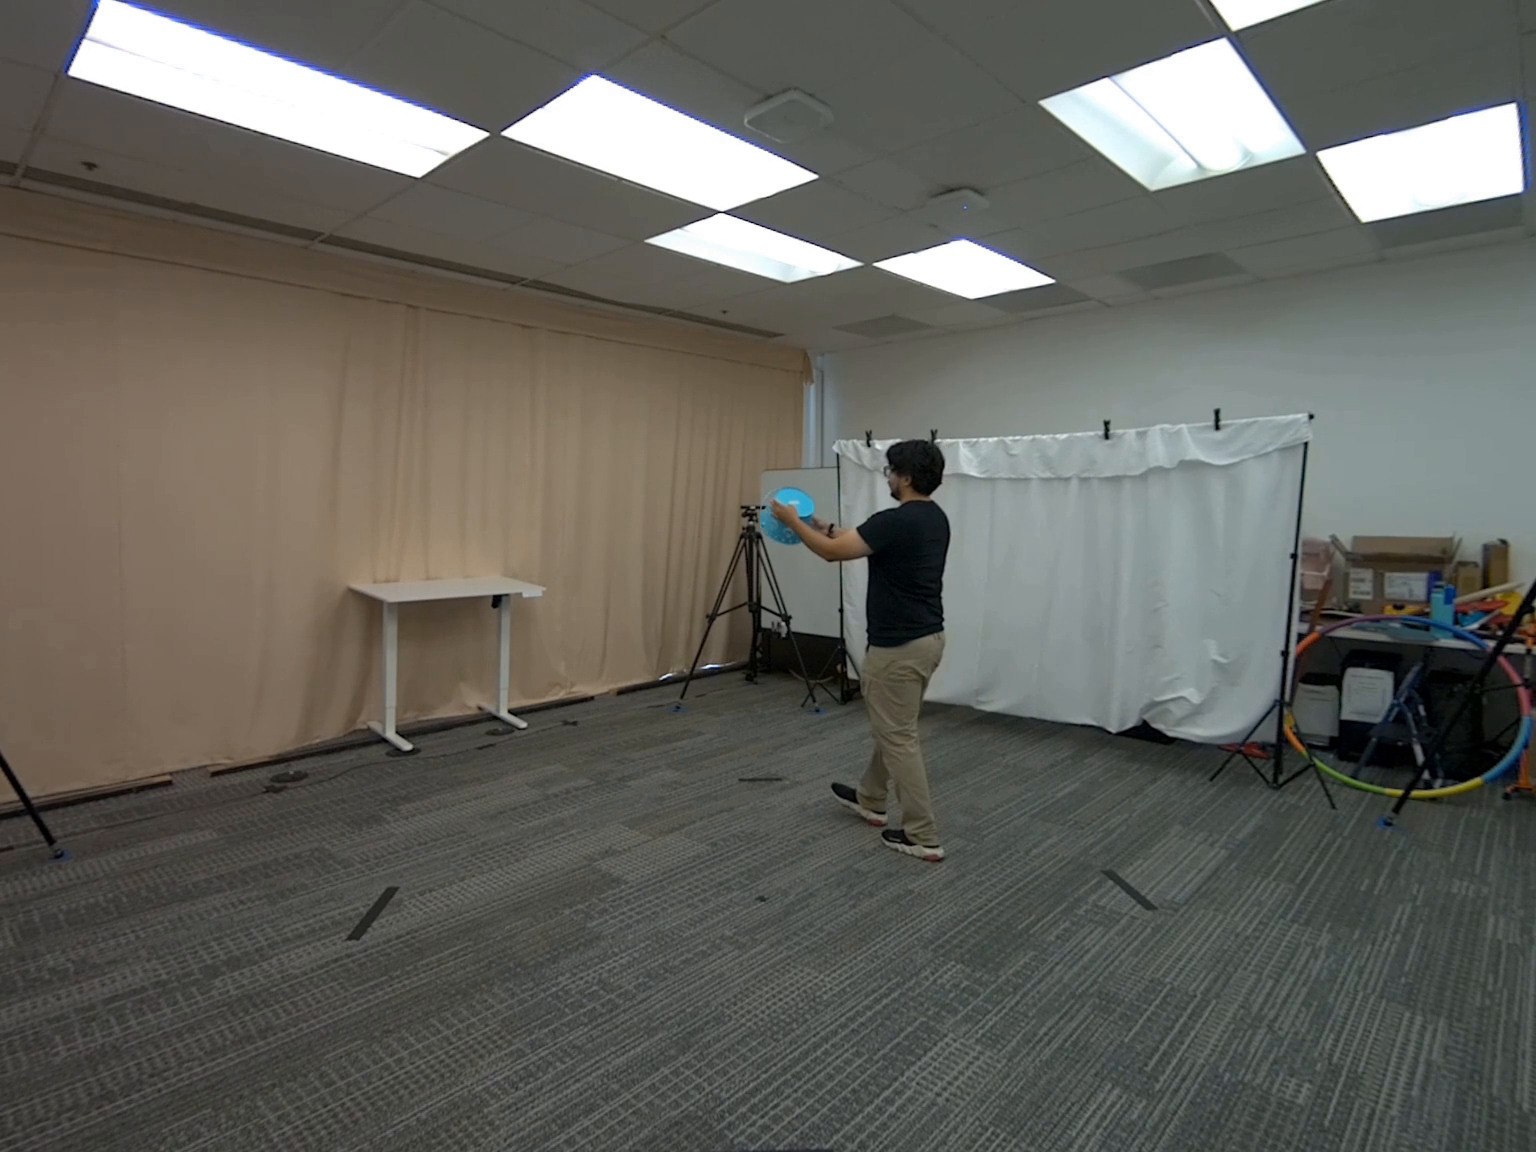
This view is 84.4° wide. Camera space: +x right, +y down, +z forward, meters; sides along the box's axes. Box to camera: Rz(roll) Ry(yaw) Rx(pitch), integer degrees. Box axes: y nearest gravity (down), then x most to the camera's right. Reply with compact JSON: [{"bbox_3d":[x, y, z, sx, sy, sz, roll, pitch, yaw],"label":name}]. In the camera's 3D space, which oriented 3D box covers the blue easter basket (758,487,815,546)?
[{"bbox_3d":[0.107,-0.270,3.703,0.240,0.248,0.155,10,-44,-12],"label":"blue easter basket"}]
